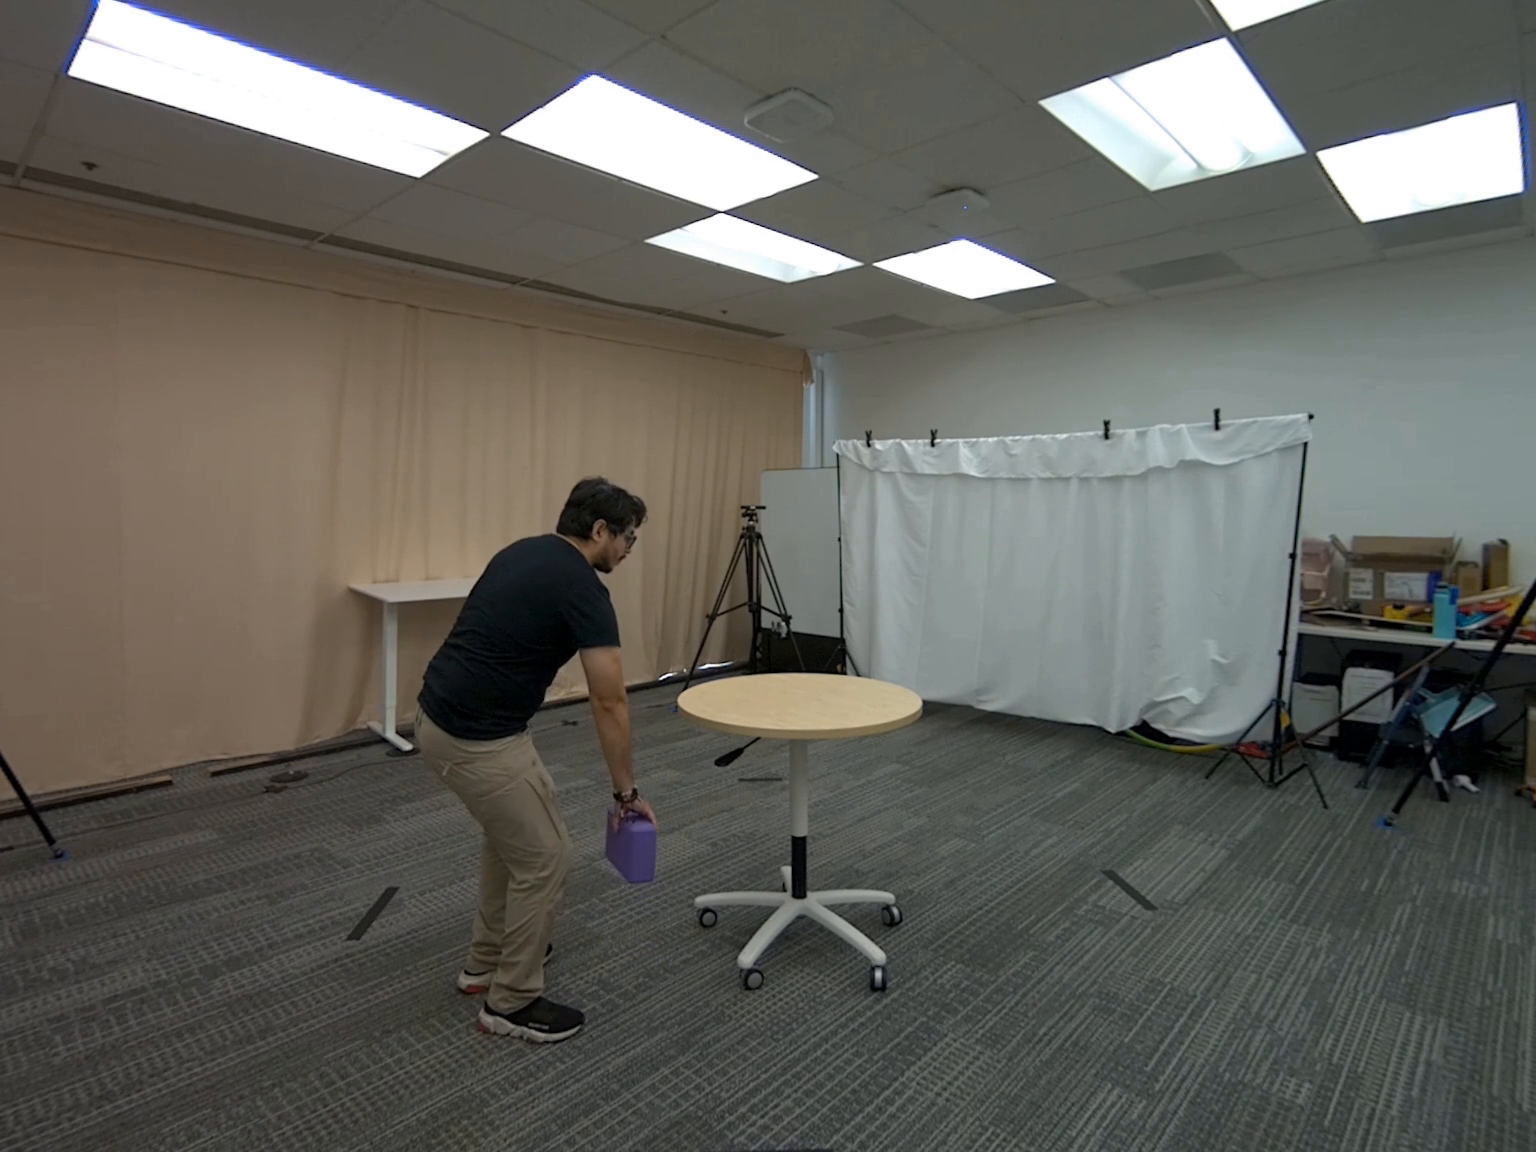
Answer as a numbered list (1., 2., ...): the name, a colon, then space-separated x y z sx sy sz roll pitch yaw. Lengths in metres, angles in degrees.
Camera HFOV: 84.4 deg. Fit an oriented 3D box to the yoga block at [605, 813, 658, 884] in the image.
1. yoga block: -0.385 0.747 2.316 0.075 0.149 0.235 0 1 -24
